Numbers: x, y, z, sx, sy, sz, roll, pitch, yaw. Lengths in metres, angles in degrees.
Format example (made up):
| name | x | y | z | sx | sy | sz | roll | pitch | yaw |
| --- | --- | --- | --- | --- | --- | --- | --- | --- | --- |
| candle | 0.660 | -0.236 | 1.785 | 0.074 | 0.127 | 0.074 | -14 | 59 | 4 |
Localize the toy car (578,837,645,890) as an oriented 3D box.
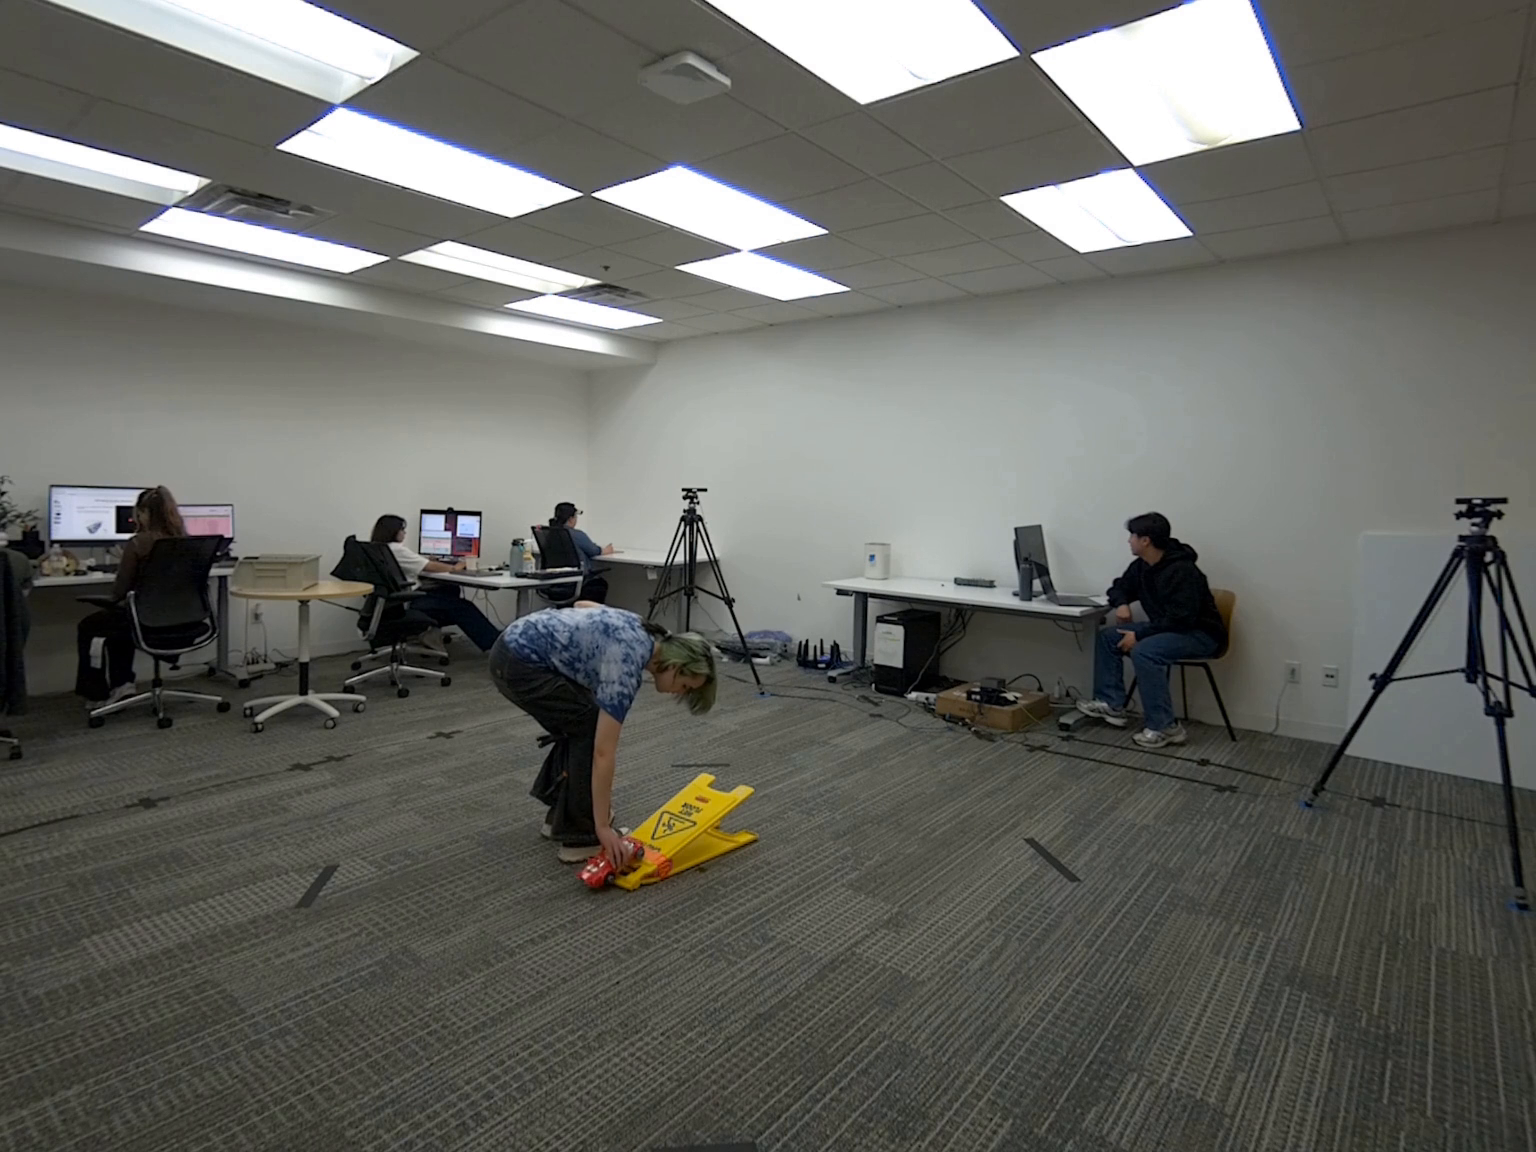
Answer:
| name | x | y | z | sx | sy | sz | roll | pitch | yaw |
| --- | --- | --- | --- | --- | --- | --- | --- | --- | --- |
| toy car | -0.570 | 1.007 | 2.985 | 0.135 | 0.082 | 0.249 | 5 | 15 | 42 |
